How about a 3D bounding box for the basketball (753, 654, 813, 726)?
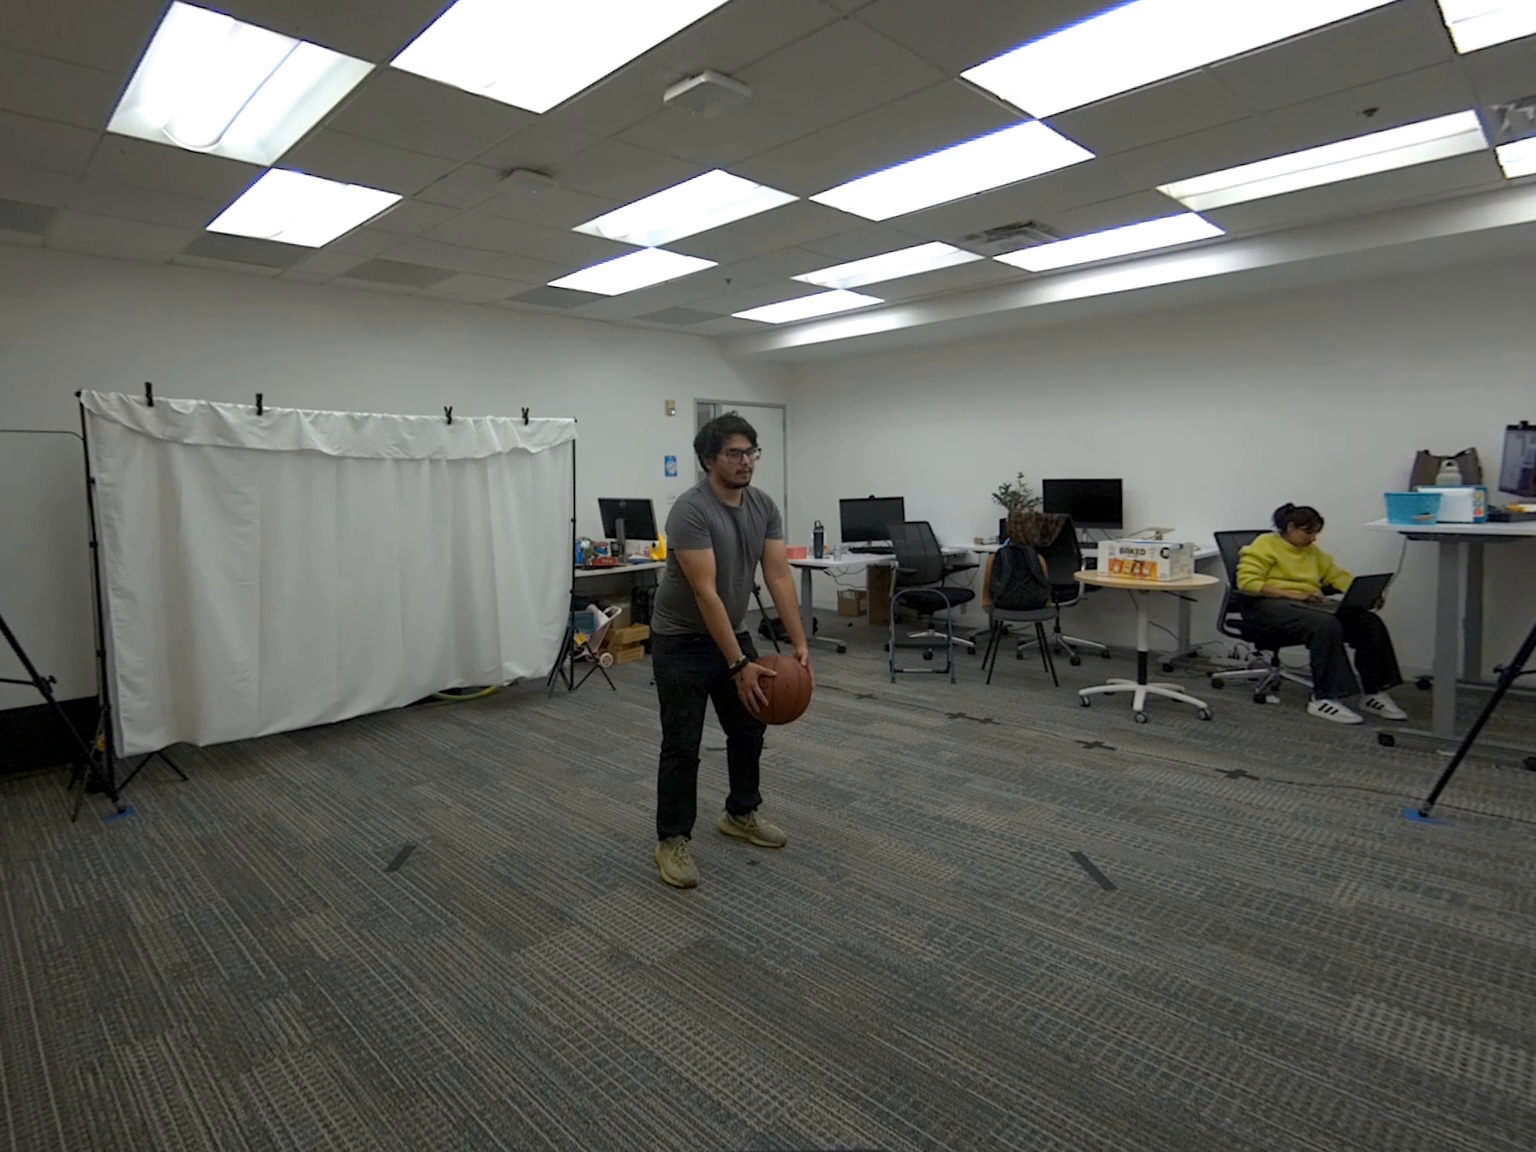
[{"bbox_3d":[0.026,0.380,2.879,0.236,0.235,0.237,-1,5,-2],"label":"basketball"}]
